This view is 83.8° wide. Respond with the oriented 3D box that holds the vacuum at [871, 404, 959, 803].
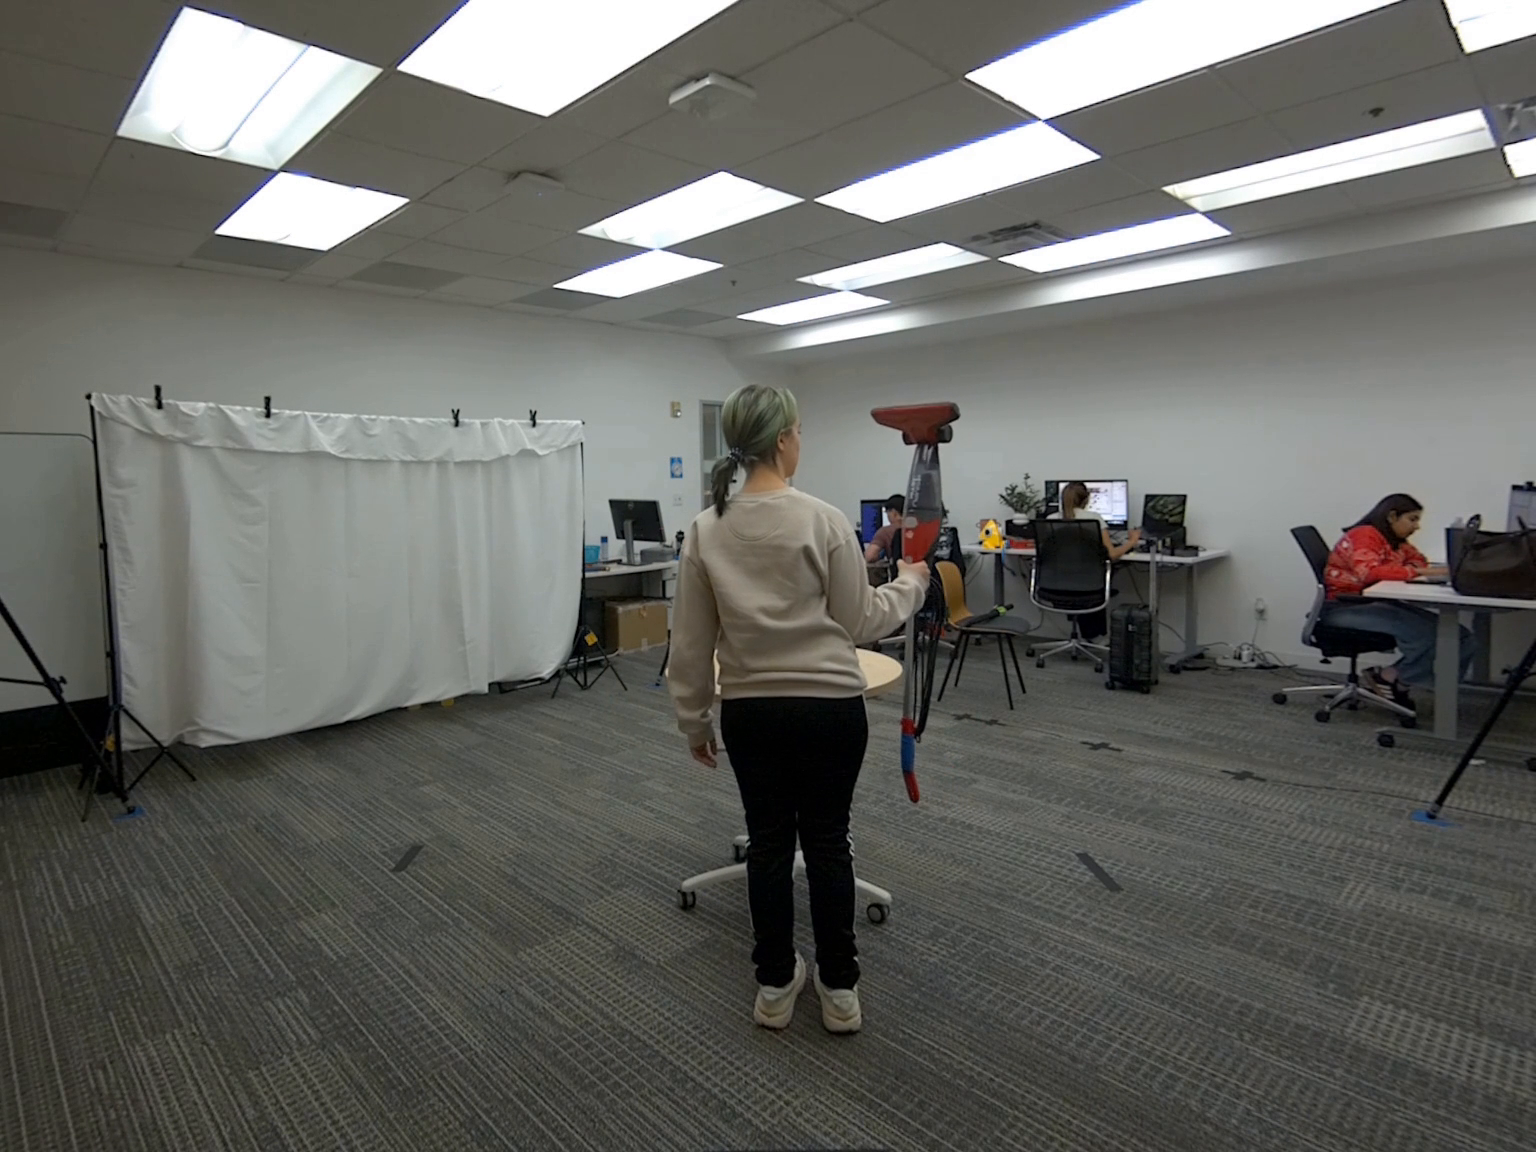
[{"bbox_3d":[0.428,0.087,2.367,0.140,1.047,0.260,-2,4,-44],"label":"vacuum"}]
